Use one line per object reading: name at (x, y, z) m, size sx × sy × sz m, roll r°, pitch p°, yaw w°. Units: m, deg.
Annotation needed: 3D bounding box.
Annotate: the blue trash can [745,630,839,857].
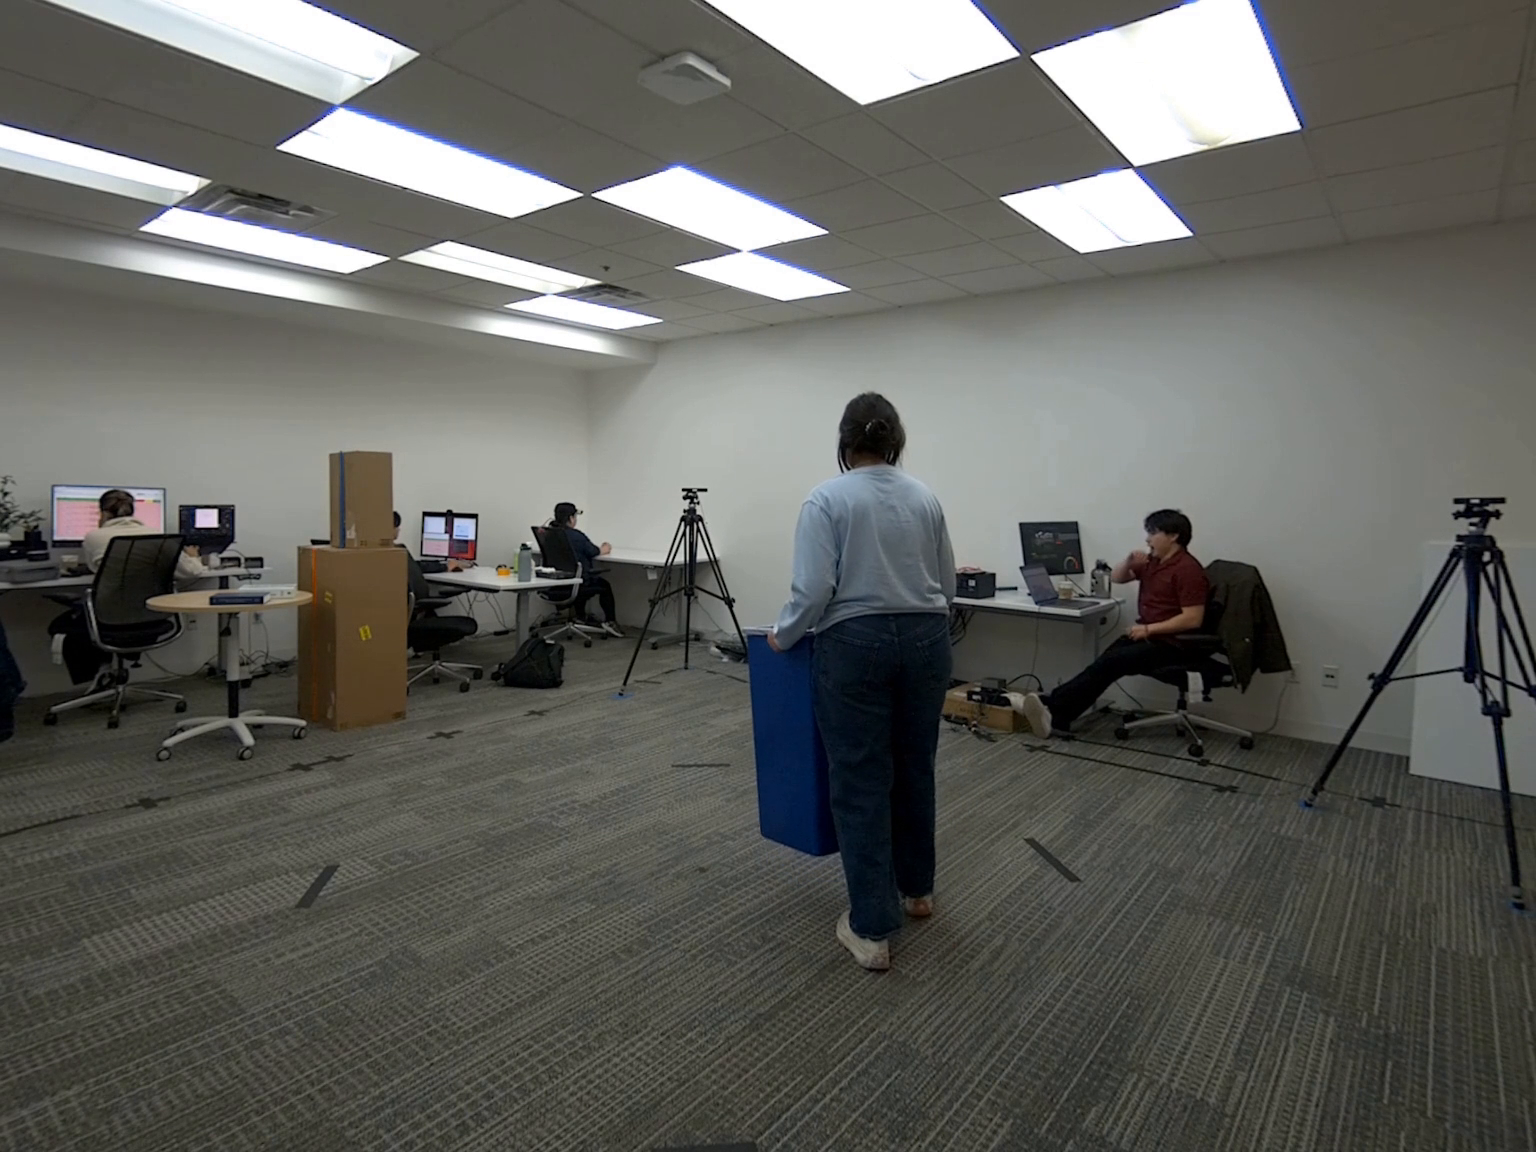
blue trash can at (0.152, 0.530, 2.905) m, size 0.367 × 0.716 × 0.384 m, roll 0°, pitch -3°, yaw -36°
